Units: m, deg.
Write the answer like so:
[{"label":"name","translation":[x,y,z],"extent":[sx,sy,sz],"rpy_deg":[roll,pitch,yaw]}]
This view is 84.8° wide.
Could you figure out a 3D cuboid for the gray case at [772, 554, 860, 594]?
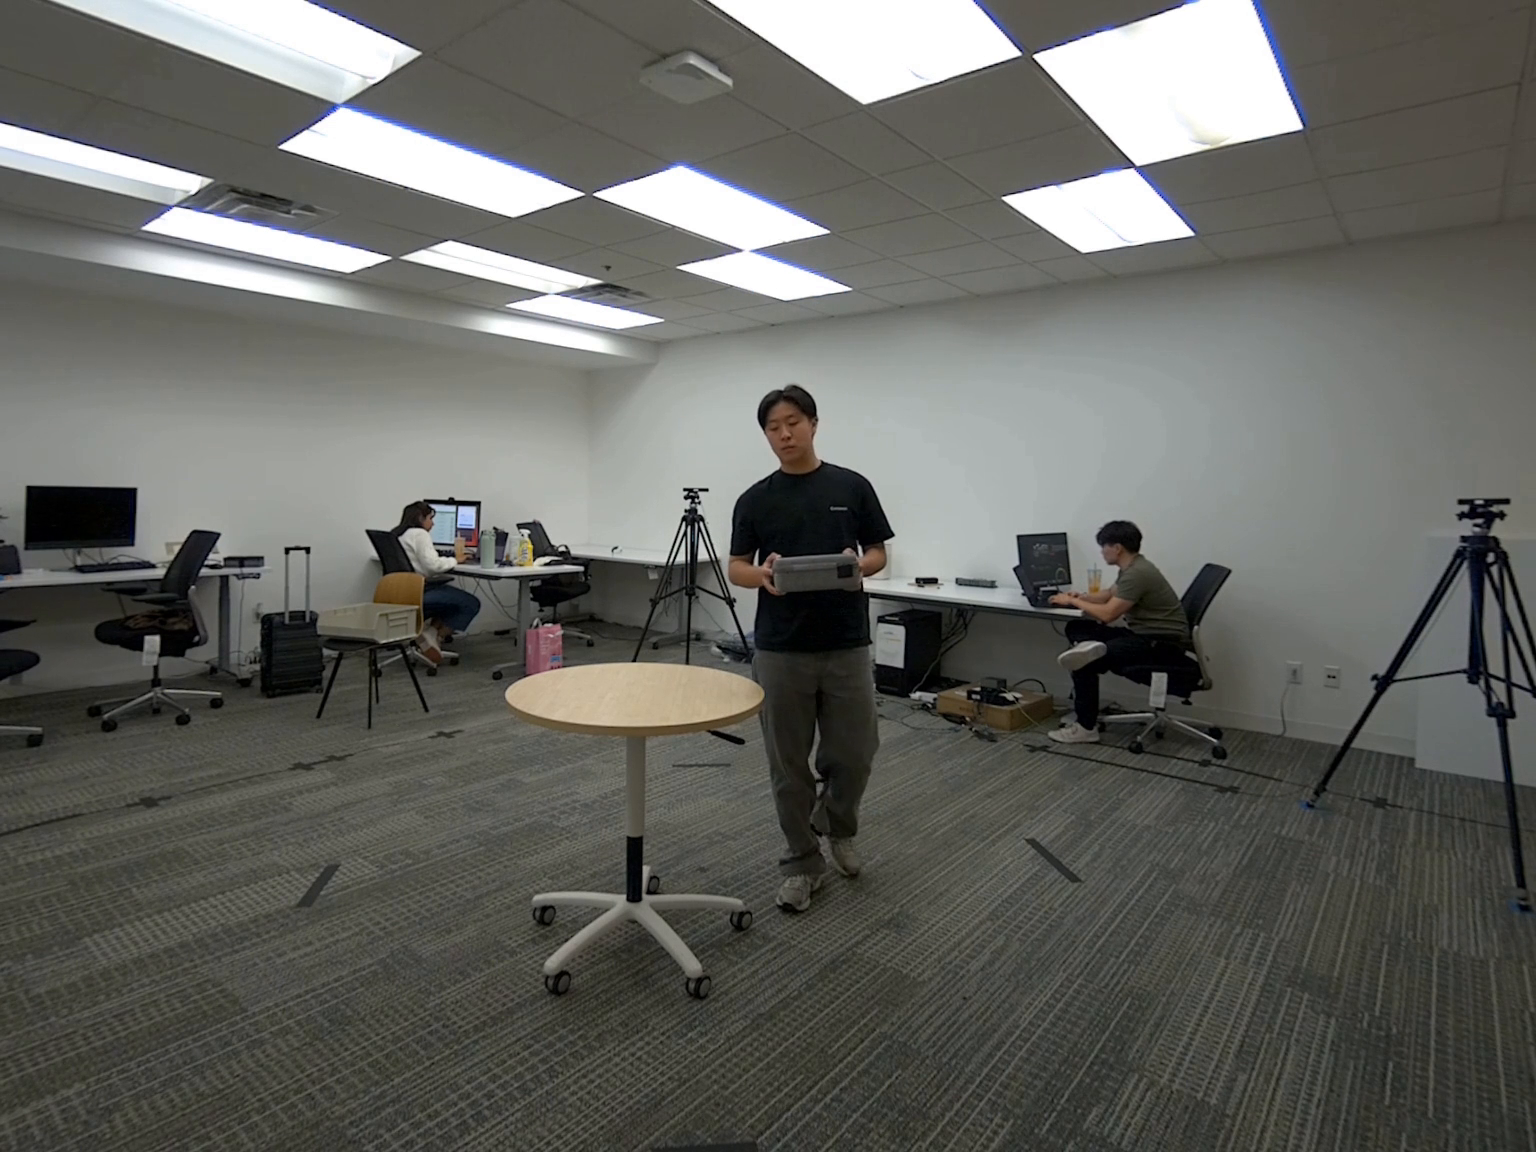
[{"label":"gray case","translation":[0.145,-0.014,2.652],"extent":[0.263,0.103,0.287],"rpy_deg":[-4,1,-1]}]
